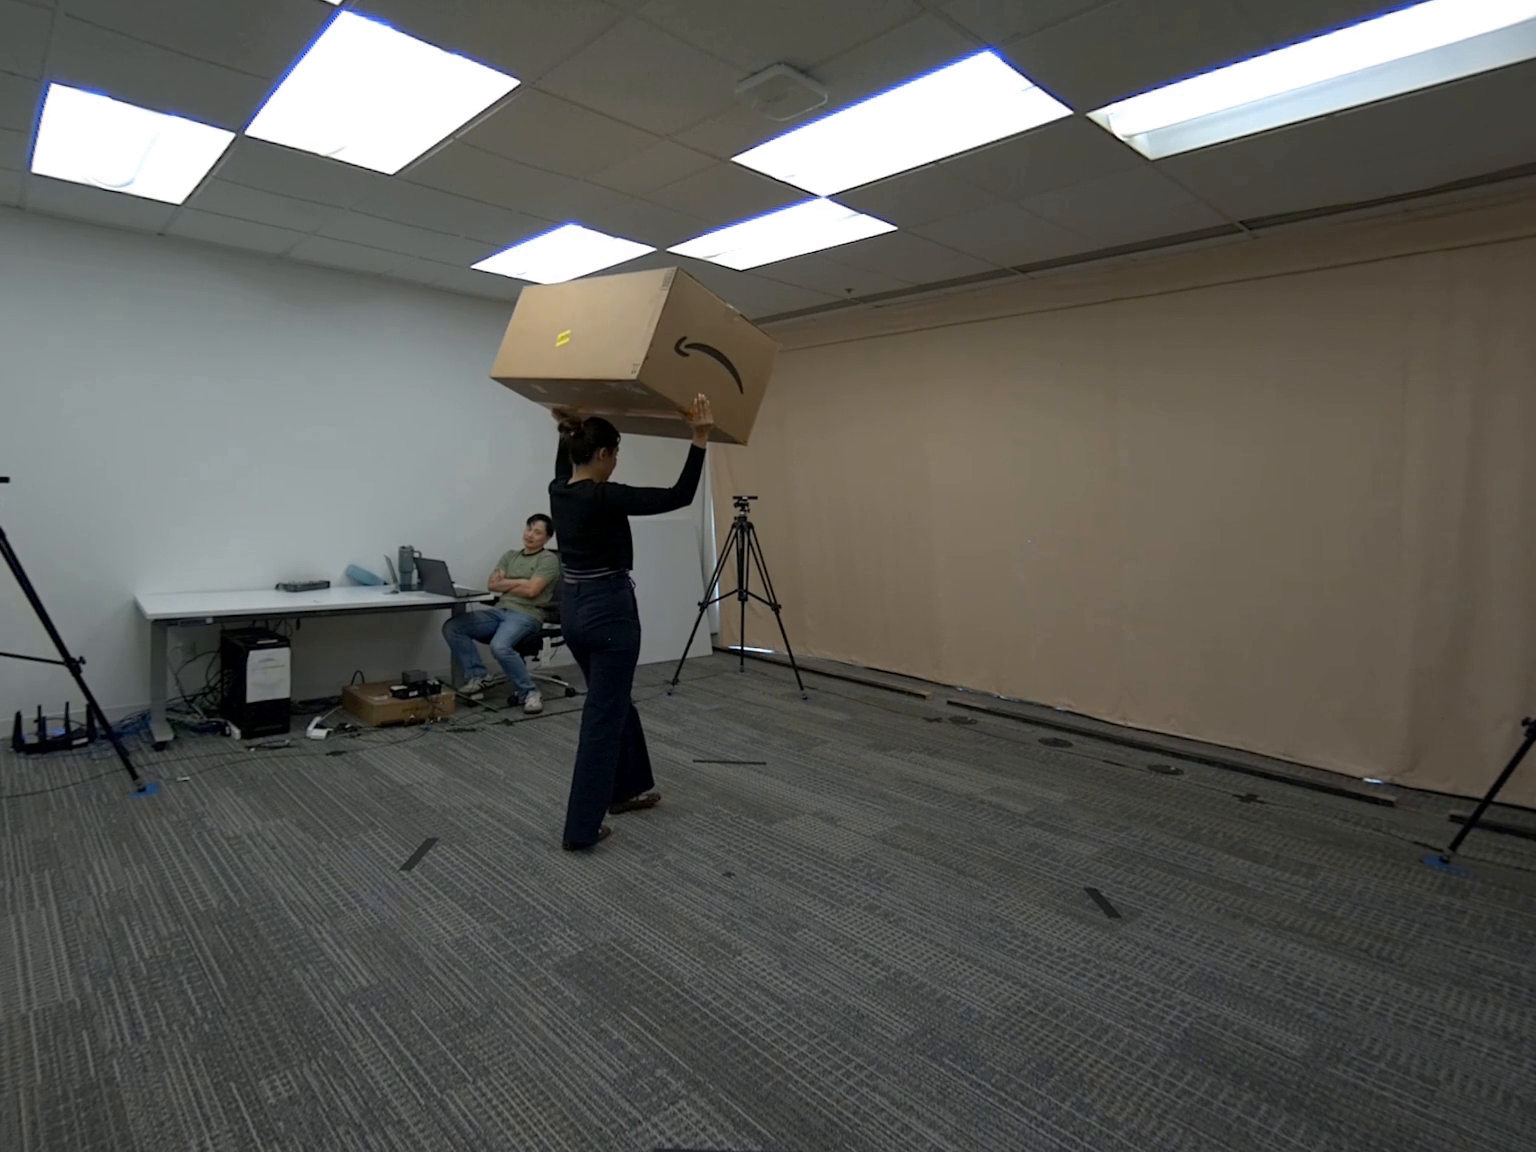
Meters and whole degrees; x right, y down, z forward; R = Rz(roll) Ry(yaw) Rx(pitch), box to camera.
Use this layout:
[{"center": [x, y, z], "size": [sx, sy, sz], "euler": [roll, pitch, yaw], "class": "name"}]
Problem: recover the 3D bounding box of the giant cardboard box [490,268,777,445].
[{"center": [-0.564, -0.855, 3.371], "size": [1.055, 0.427, 0.560], "euler": [14, -8, 44], "class": "giant cardboard box"}]
